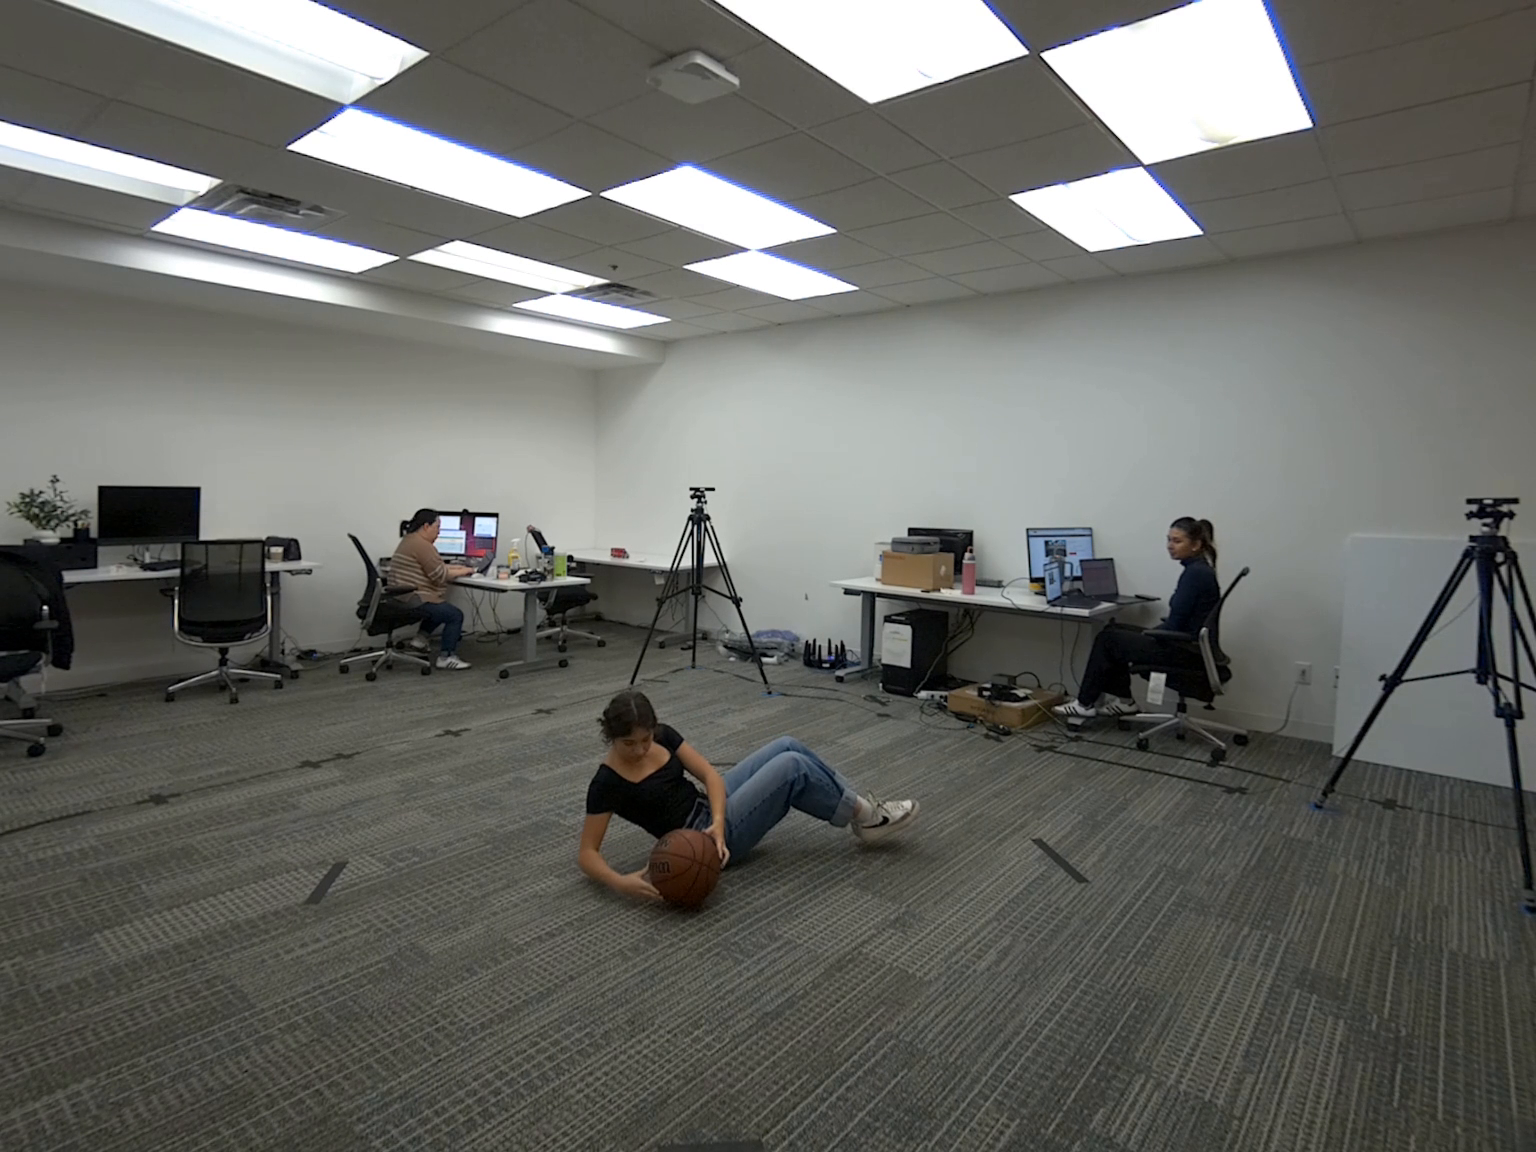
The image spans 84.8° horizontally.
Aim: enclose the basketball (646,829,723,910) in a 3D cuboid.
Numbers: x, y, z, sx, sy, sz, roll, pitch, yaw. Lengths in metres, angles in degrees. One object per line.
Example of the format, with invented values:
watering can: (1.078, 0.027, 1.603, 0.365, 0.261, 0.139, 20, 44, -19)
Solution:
basketball: (-0.280, 0.952, 2.830, 0.235, 0.235, 0.237, 1, 4, -2)
